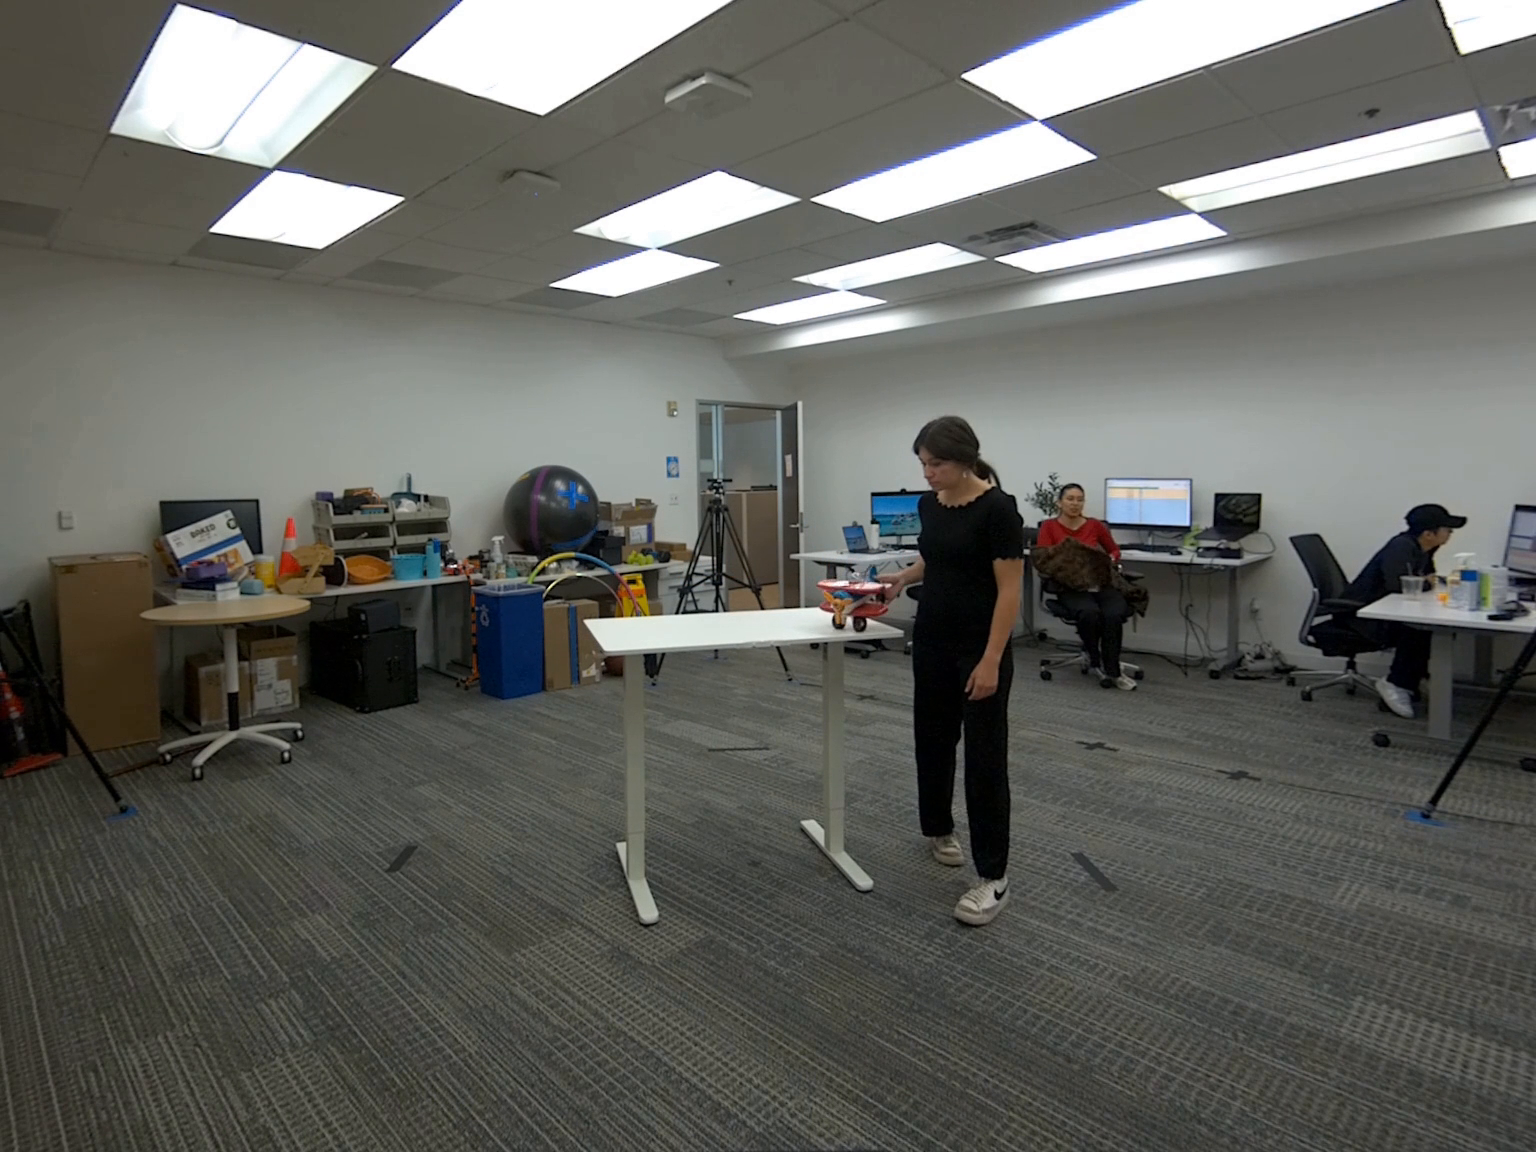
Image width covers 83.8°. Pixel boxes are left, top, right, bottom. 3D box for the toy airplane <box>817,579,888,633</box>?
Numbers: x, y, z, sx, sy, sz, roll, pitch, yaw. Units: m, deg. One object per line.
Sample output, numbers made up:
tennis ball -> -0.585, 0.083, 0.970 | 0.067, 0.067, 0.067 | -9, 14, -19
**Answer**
toy airplane -> 0.295, 0.070, 2.939 | 0.254, 0.152, 0.263 | -11, 26, 16
